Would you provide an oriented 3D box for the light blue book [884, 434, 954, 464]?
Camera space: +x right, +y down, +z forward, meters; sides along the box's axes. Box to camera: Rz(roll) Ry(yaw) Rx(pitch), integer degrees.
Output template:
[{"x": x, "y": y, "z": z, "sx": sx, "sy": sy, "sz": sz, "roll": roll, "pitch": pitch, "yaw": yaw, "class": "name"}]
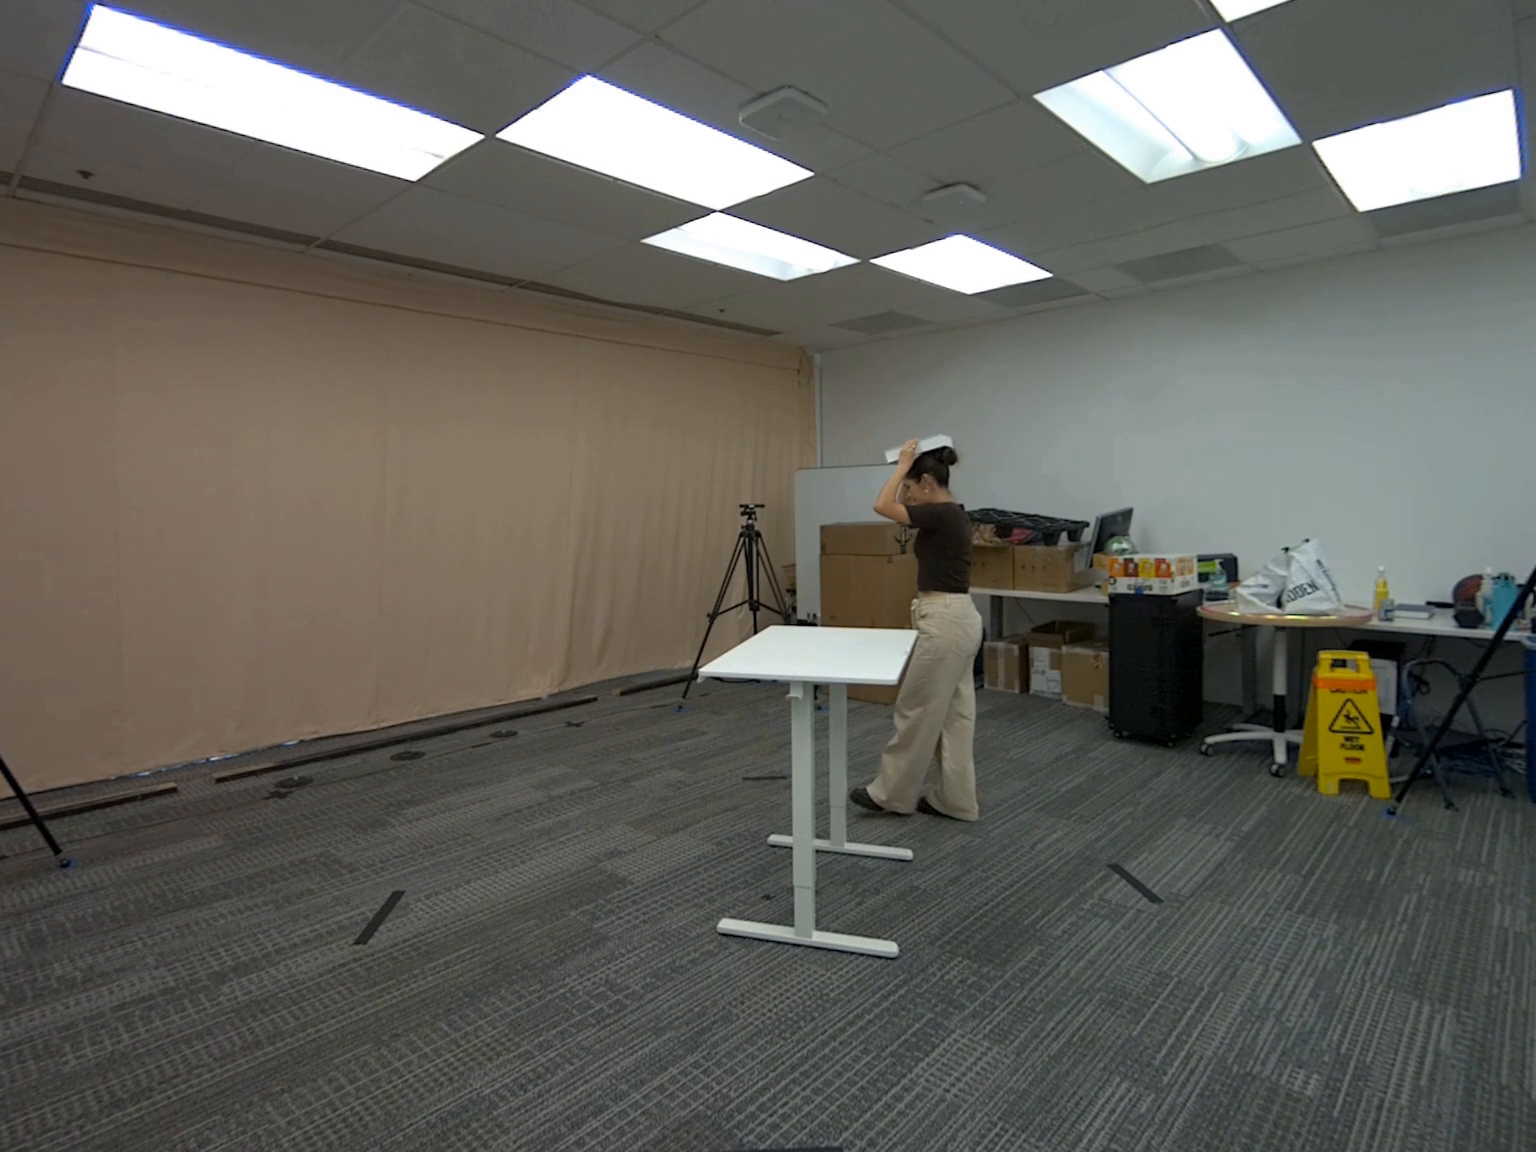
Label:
[{"x": 0.677, "y": -0.564, "z": 3.736, "sx": 0.266, "sy": 0.059, "sz": 0.187, "roll": -15, "pitch": -2, "yaw": 26, "class": "light blue book"}]
